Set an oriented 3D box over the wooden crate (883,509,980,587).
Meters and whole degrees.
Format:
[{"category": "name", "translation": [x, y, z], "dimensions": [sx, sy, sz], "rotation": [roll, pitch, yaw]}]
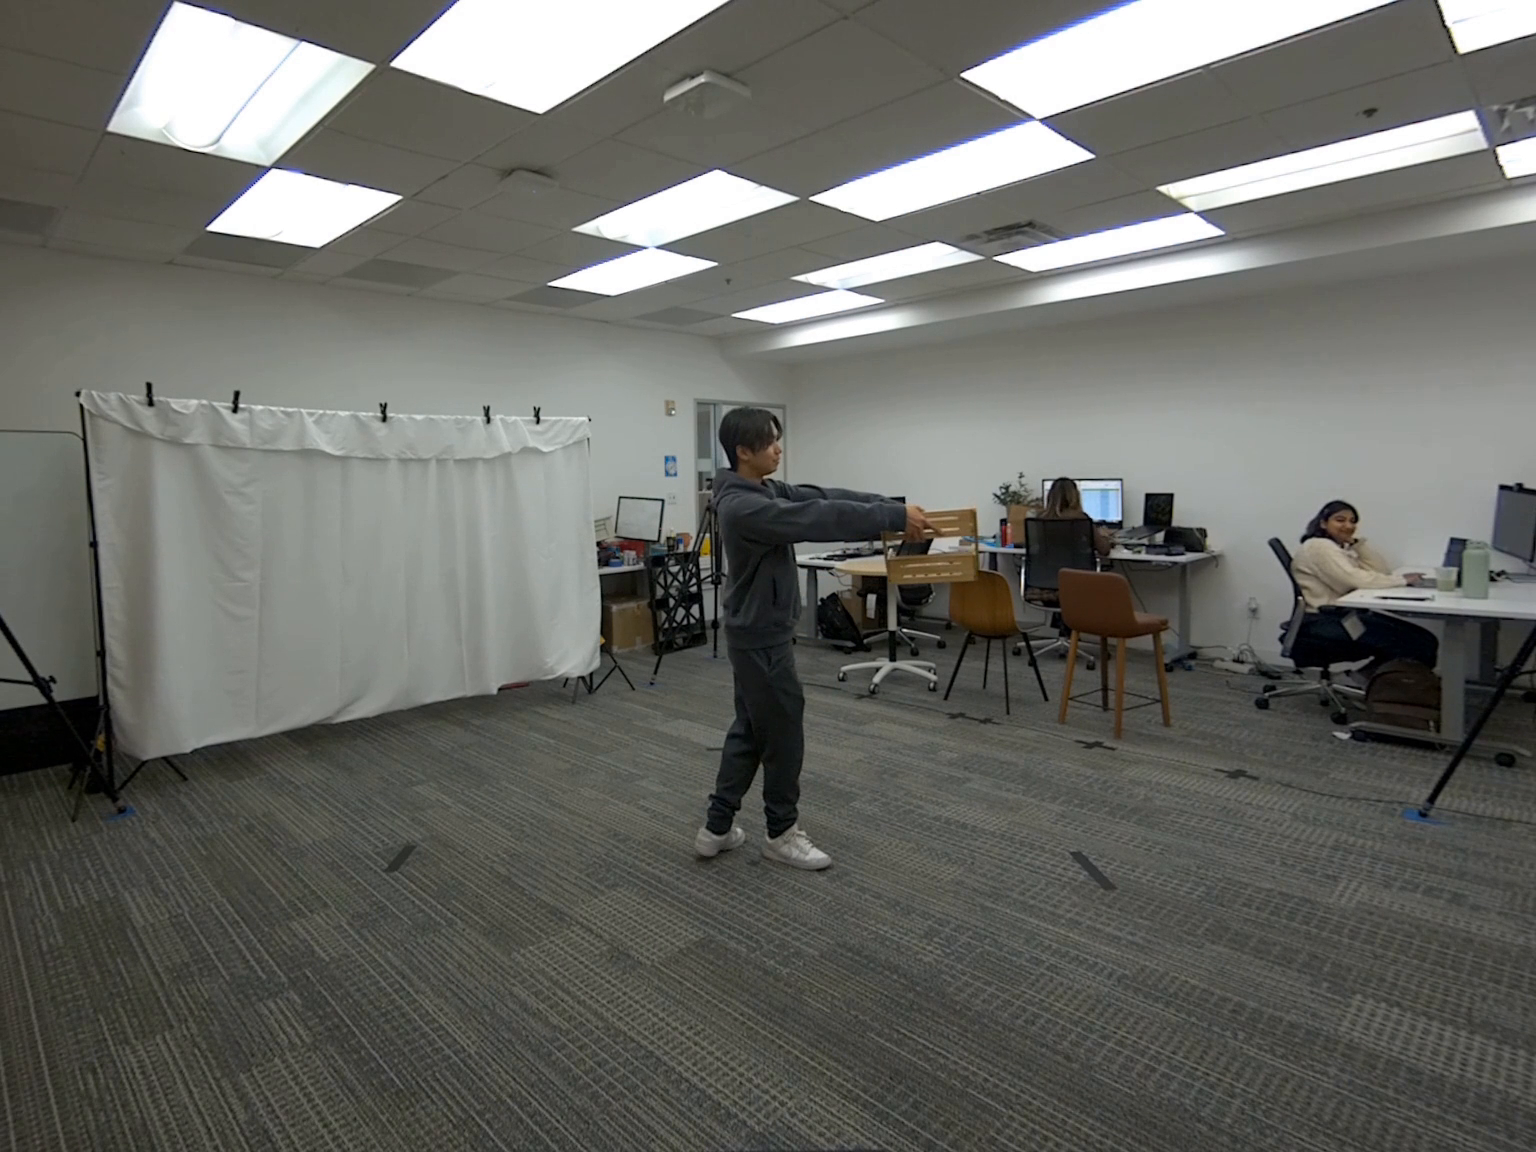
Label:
[{"category": "wooden crate", "translation": [0.575, -0.129, 3.030], "dimensions": [0.329, 0.271, 0.300], "rotation": [-3, 11, 17]}]
